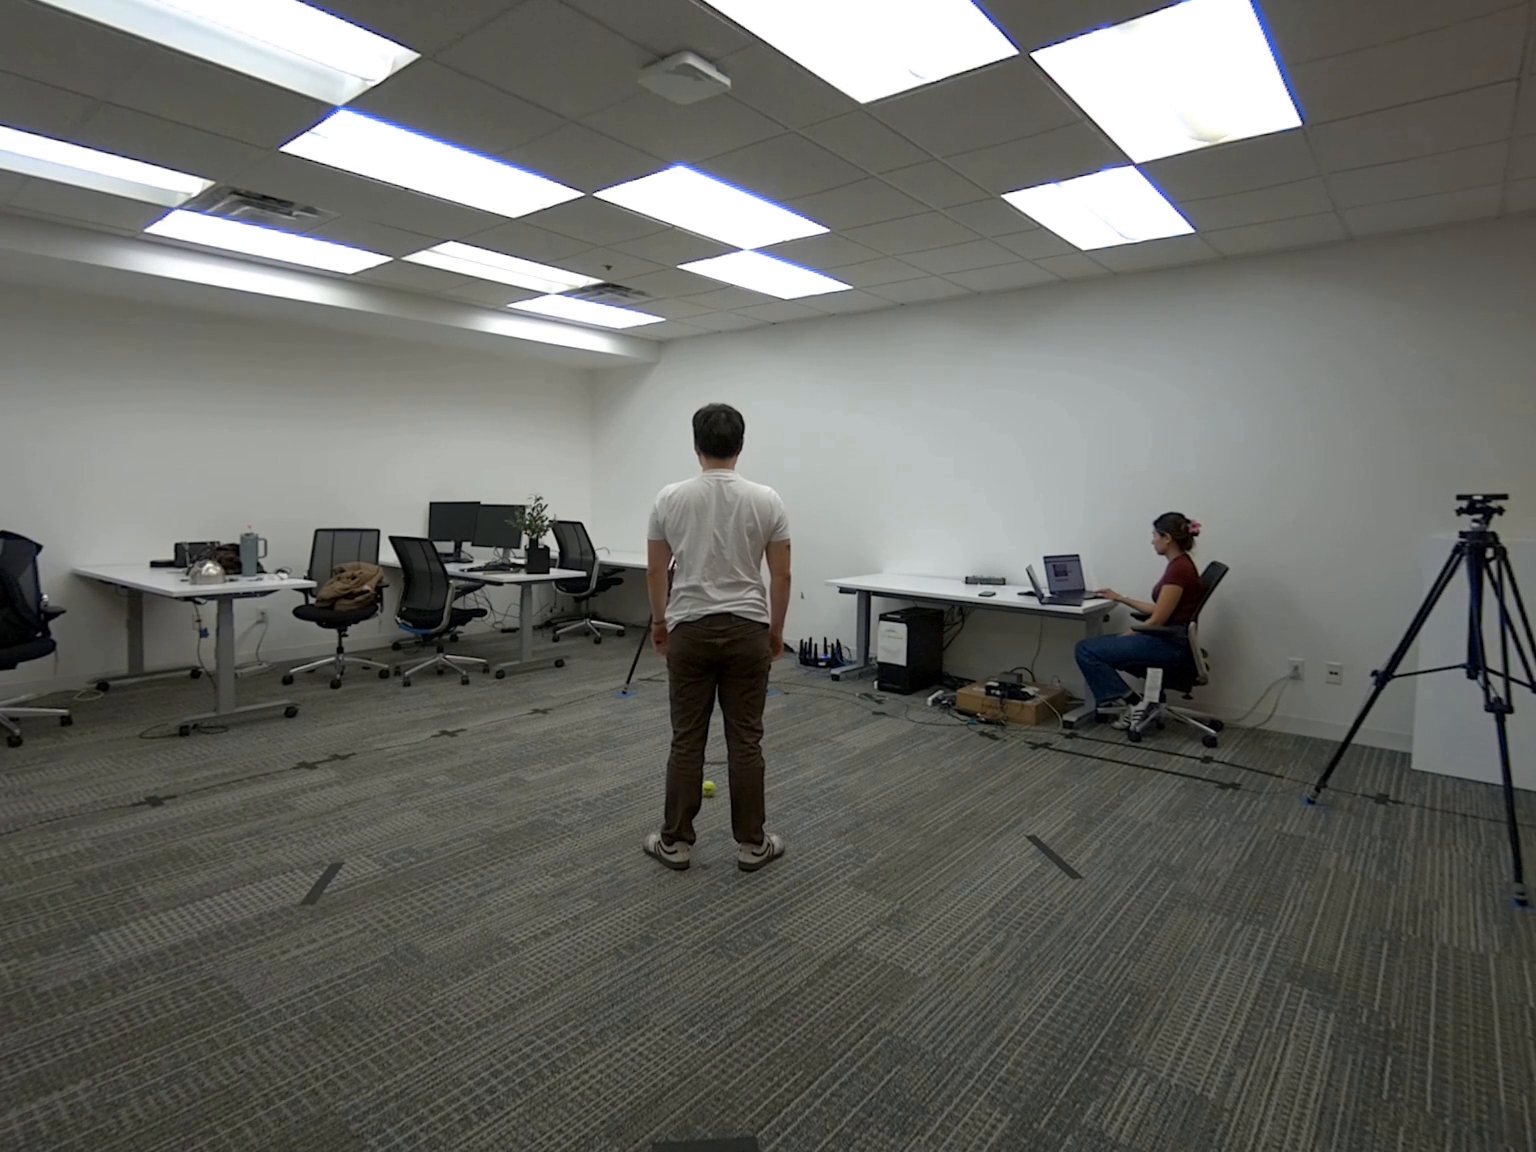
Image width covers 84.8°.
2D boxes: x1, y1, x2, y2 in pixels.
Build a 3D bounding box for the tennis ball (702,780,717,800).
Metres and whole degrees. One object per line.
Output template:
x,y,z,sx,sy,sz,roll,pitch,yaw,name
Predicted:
-0.278,0.940,3.844,0.066,0.066,0.067,1,4,-2,tennis ball
